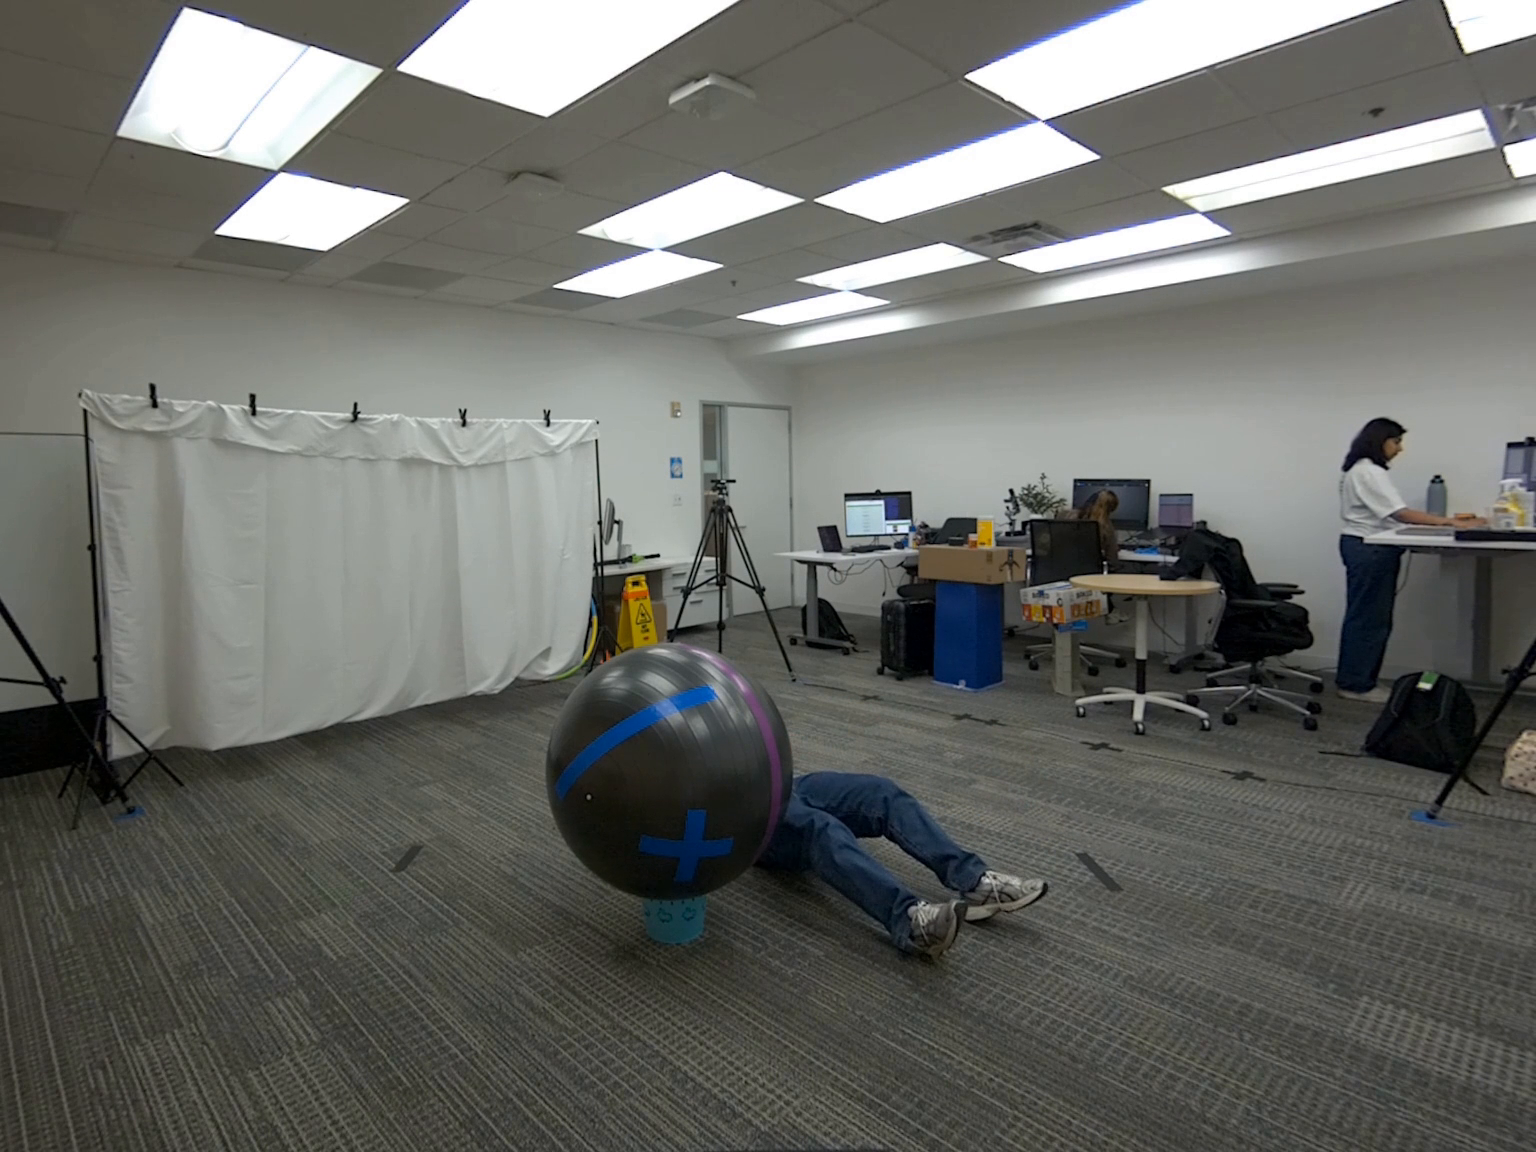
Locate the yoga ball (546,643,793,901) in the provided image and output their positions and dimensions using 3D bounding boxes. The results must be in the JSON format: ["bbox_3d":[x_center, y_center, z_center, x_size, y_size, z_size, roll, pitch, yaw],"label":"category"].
[{"bbox_3d":[-0.302,0.593,2.643,0.757,0.755,0.762,-1,5,-2],"label":"yoga ball"}]
